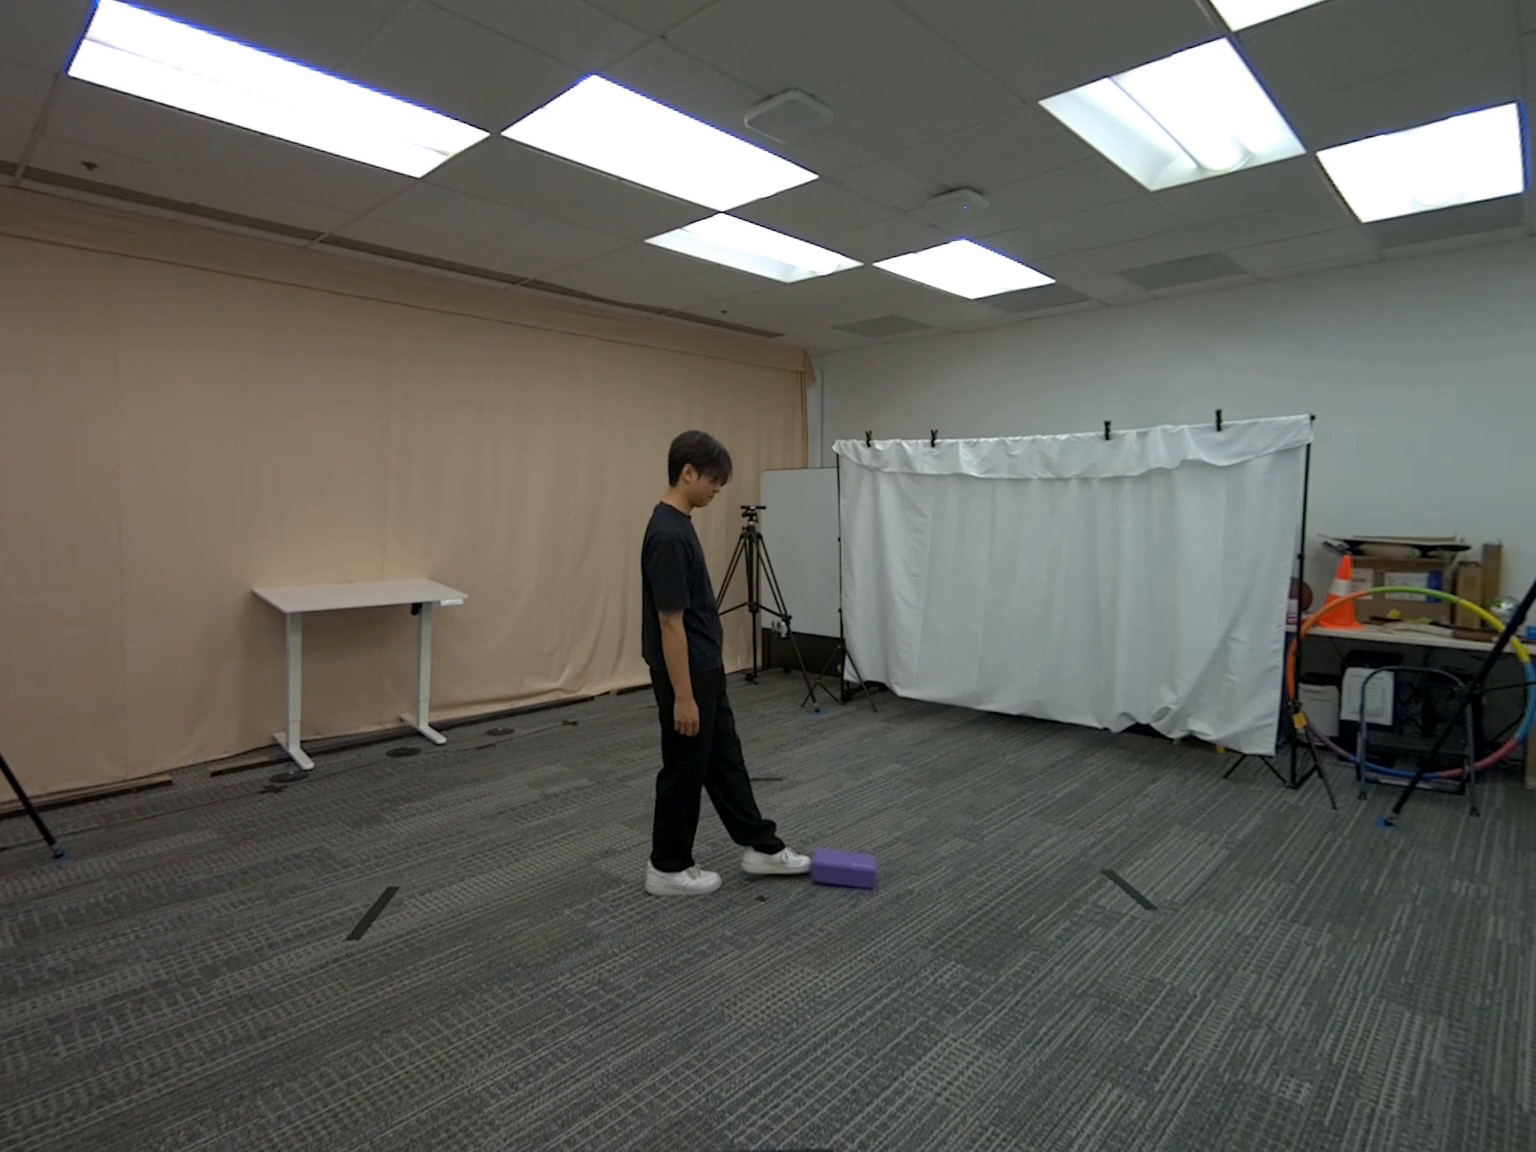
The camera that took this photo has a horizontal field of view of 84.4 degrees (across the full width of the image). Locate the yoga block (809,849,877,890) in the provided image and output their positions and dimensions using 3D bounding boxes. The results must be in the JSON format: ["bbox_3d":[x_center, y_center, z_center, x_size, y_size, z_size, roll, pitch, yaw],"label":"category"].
[{"bbox_3d":[0.286,1.086,3.125,0.232,0.076,0.148,3,5,9],"label":"yoga block"}]
